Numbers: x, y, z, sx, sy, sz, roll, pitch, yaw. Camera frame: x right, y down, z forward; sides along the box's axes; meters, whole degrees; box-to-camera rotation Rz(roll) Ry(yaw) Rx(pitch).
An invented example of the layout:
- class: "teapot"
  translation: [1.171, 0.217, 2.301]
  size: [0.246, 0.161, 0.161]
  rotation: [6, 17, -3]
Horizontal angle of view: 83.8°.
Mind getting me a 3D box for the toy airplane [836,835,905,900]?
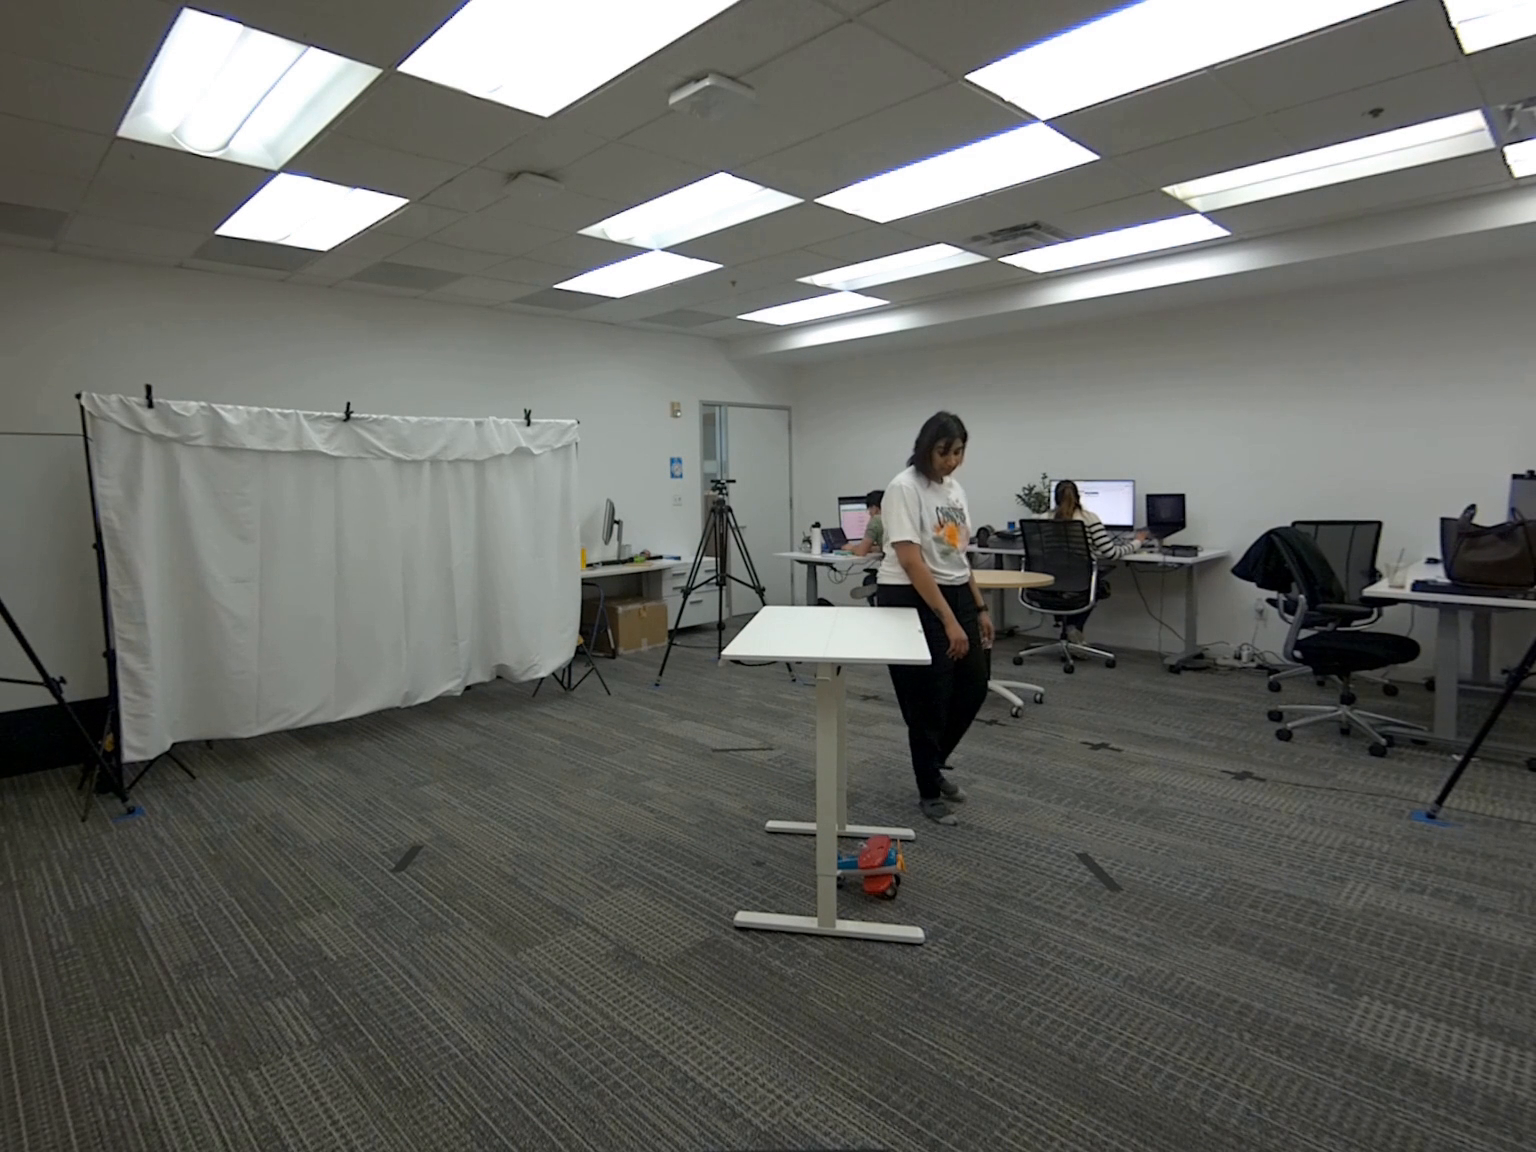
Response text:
- class: "toy airplane"
  translation: [0.336, 0.993, 2.879]
  size: [0.257, 0.156, 0.254]
  rotation: [-1, 6, -10]
